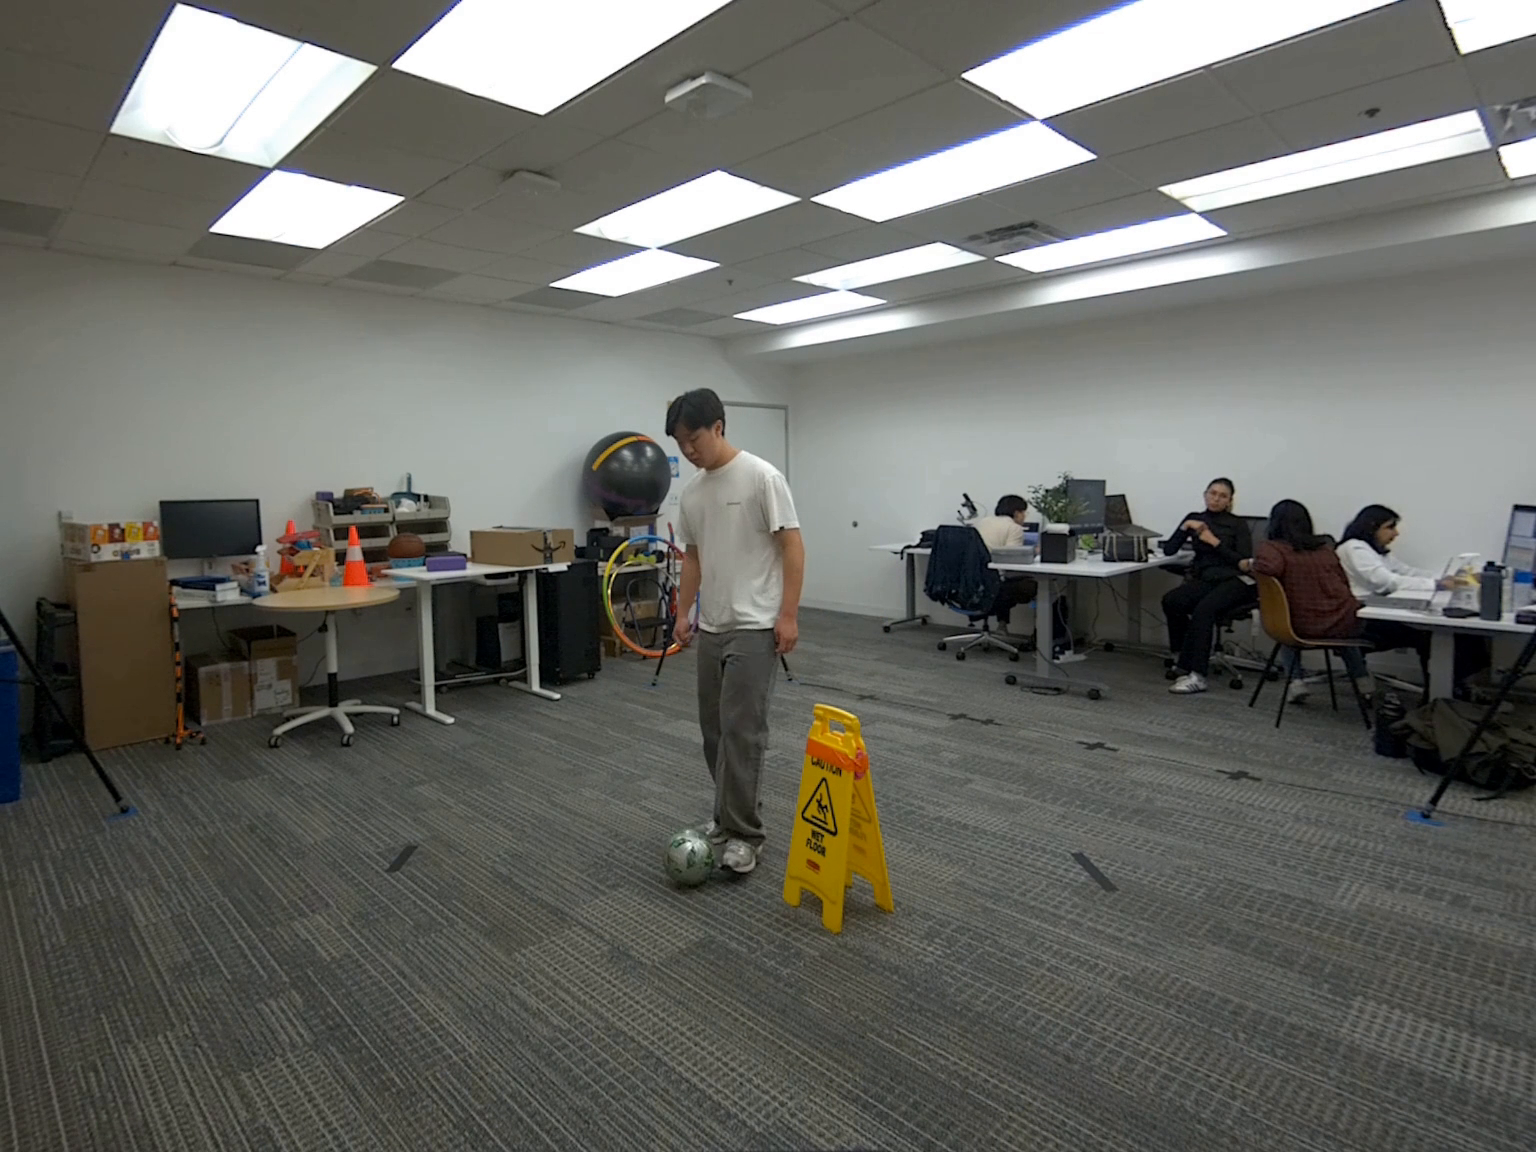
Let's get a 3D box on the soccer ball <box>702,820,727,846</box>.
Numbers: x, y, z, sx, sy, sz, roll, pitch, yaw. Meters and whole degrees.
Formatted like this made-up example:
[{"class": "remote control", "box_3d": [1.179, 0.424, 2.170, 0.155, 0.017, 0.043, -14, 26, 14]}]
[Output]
[{"class": "soccer ball", "box_3d": [-0.264, 0.977, 2.966, 0.187, 0.187, 0.188, -1, 5, -2]}]
